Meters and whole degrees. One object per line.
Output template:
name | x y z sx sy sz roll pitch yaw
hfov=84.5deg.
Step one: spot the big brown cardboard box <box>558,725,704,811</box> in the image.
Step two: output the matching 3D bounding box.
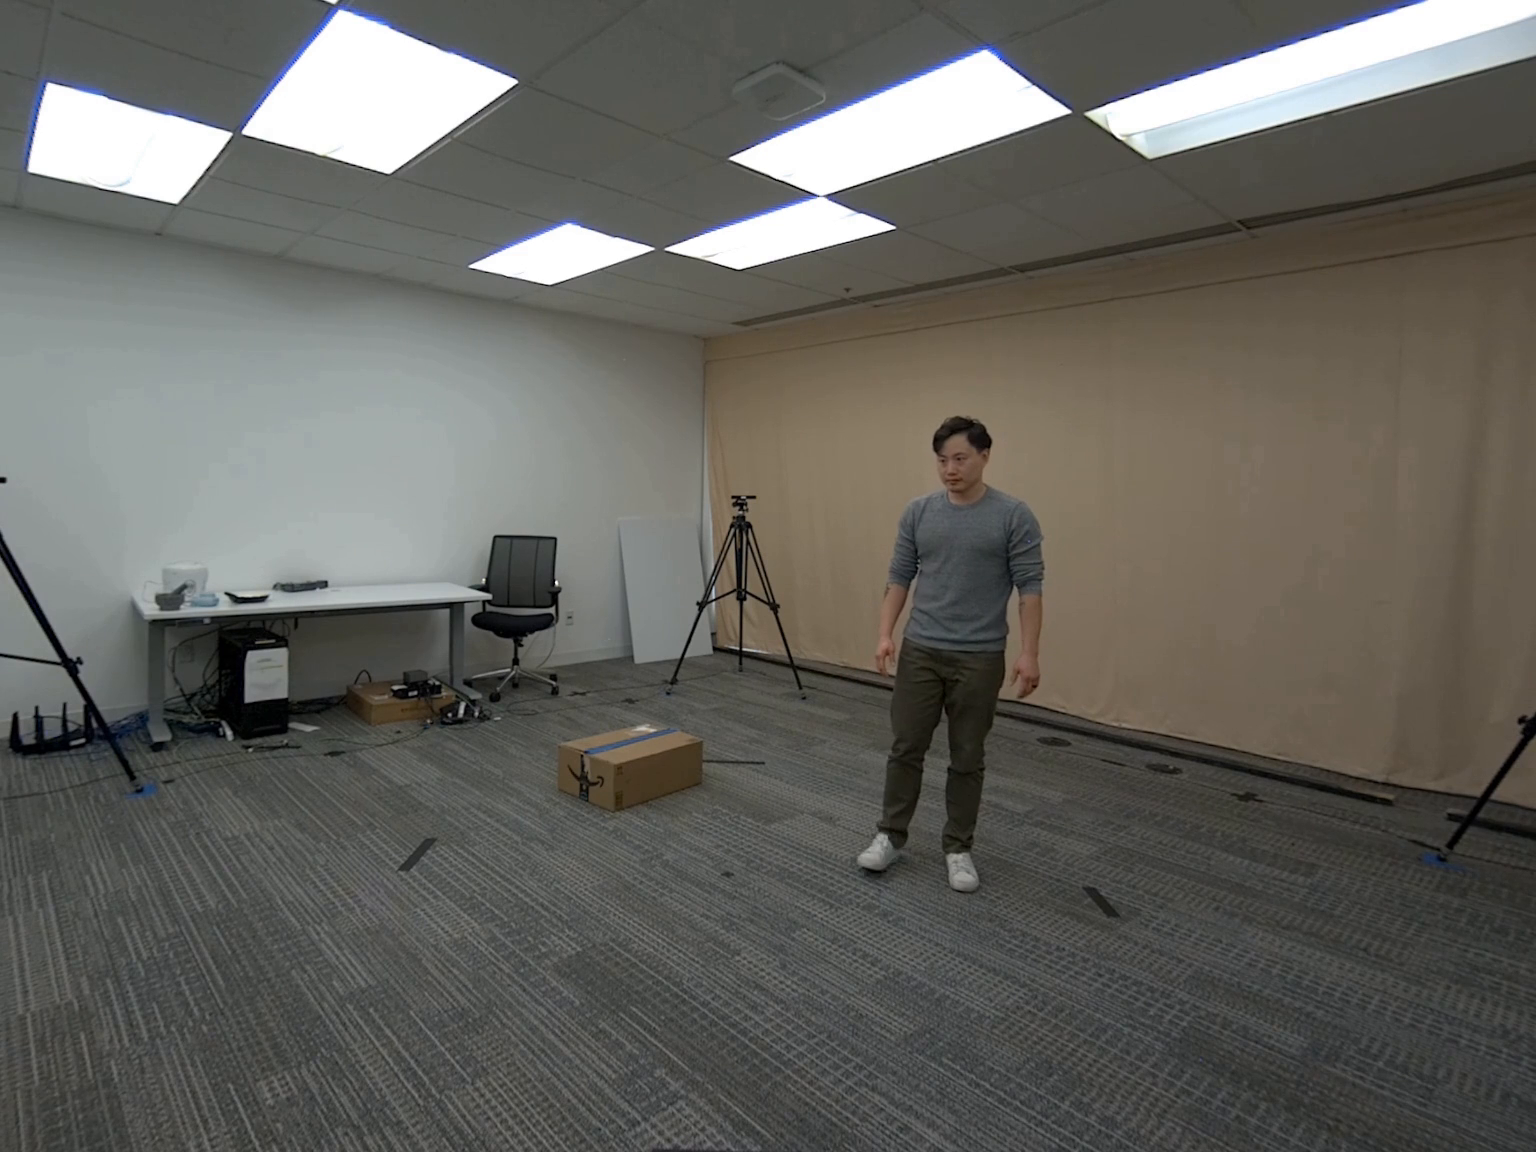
big brown cardboard box | -0.658 0.897 4.029 0.428 0.232 0.576 5 7 40
